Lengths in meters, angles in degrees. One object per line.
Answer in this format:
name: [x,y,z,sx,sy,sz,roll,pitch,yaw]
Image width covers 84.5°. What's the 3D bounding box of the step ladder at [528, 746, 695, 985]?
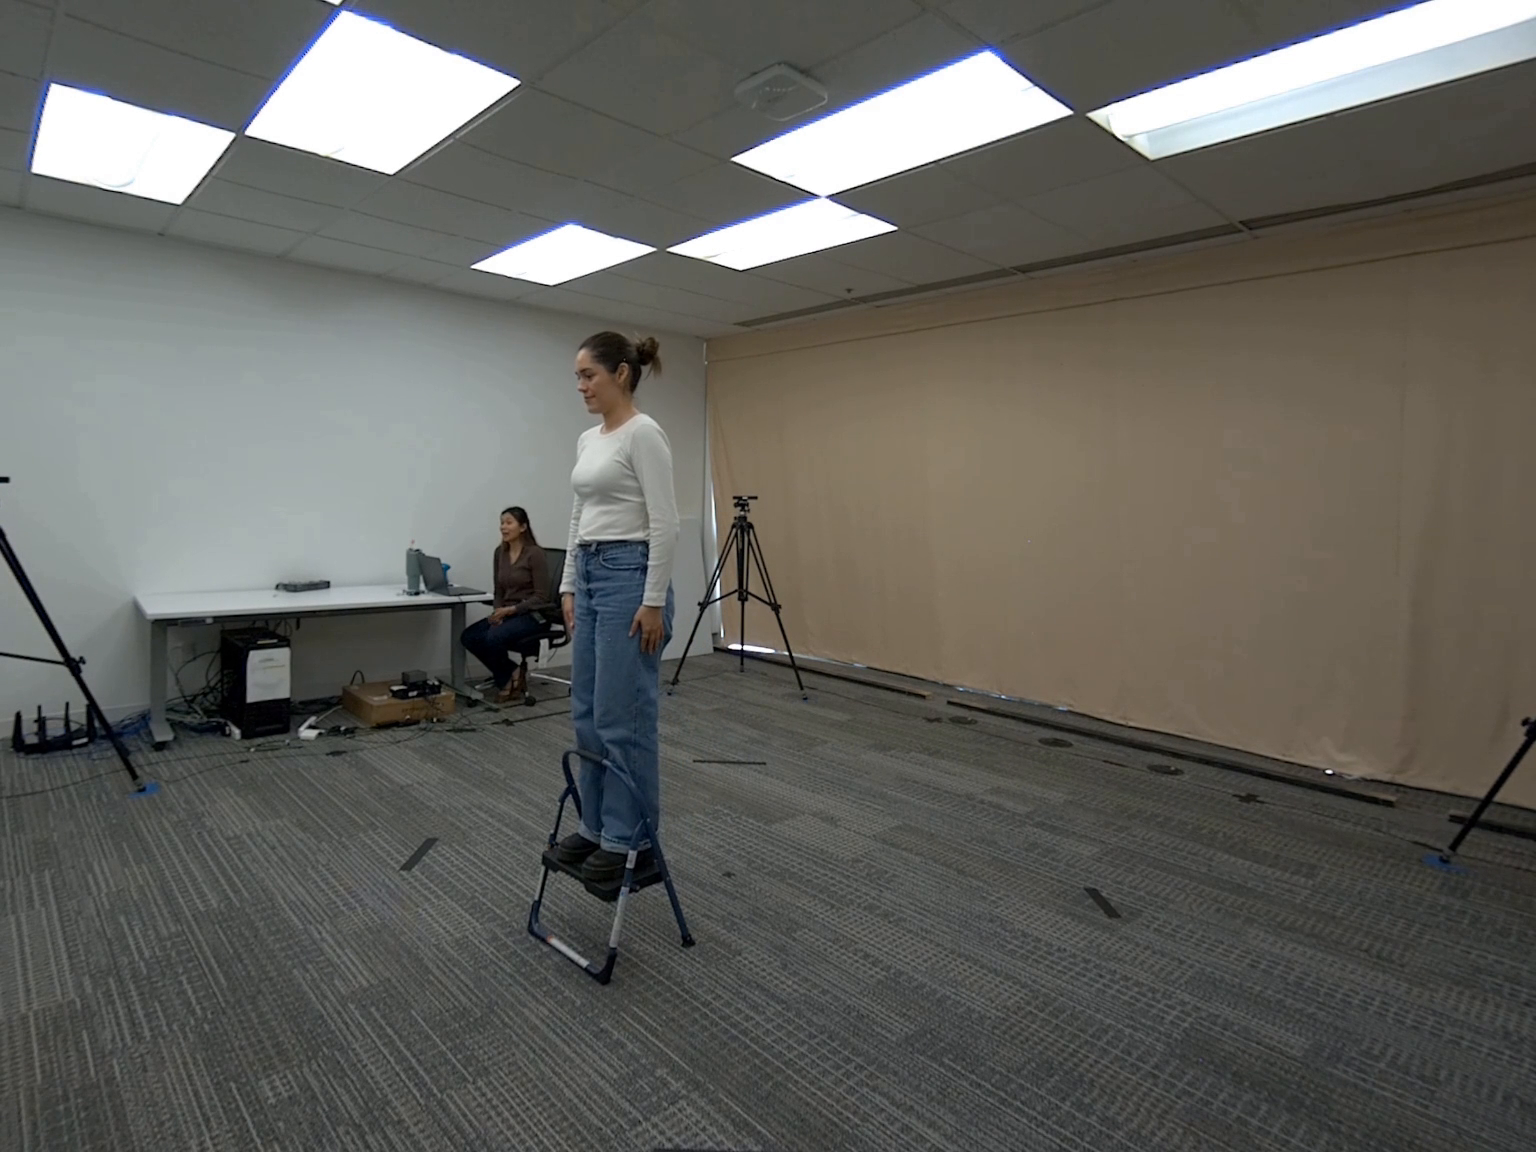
step ladder: [-0.500,0.839,2.628,0.441,0.604,0.341,4,5,43]
